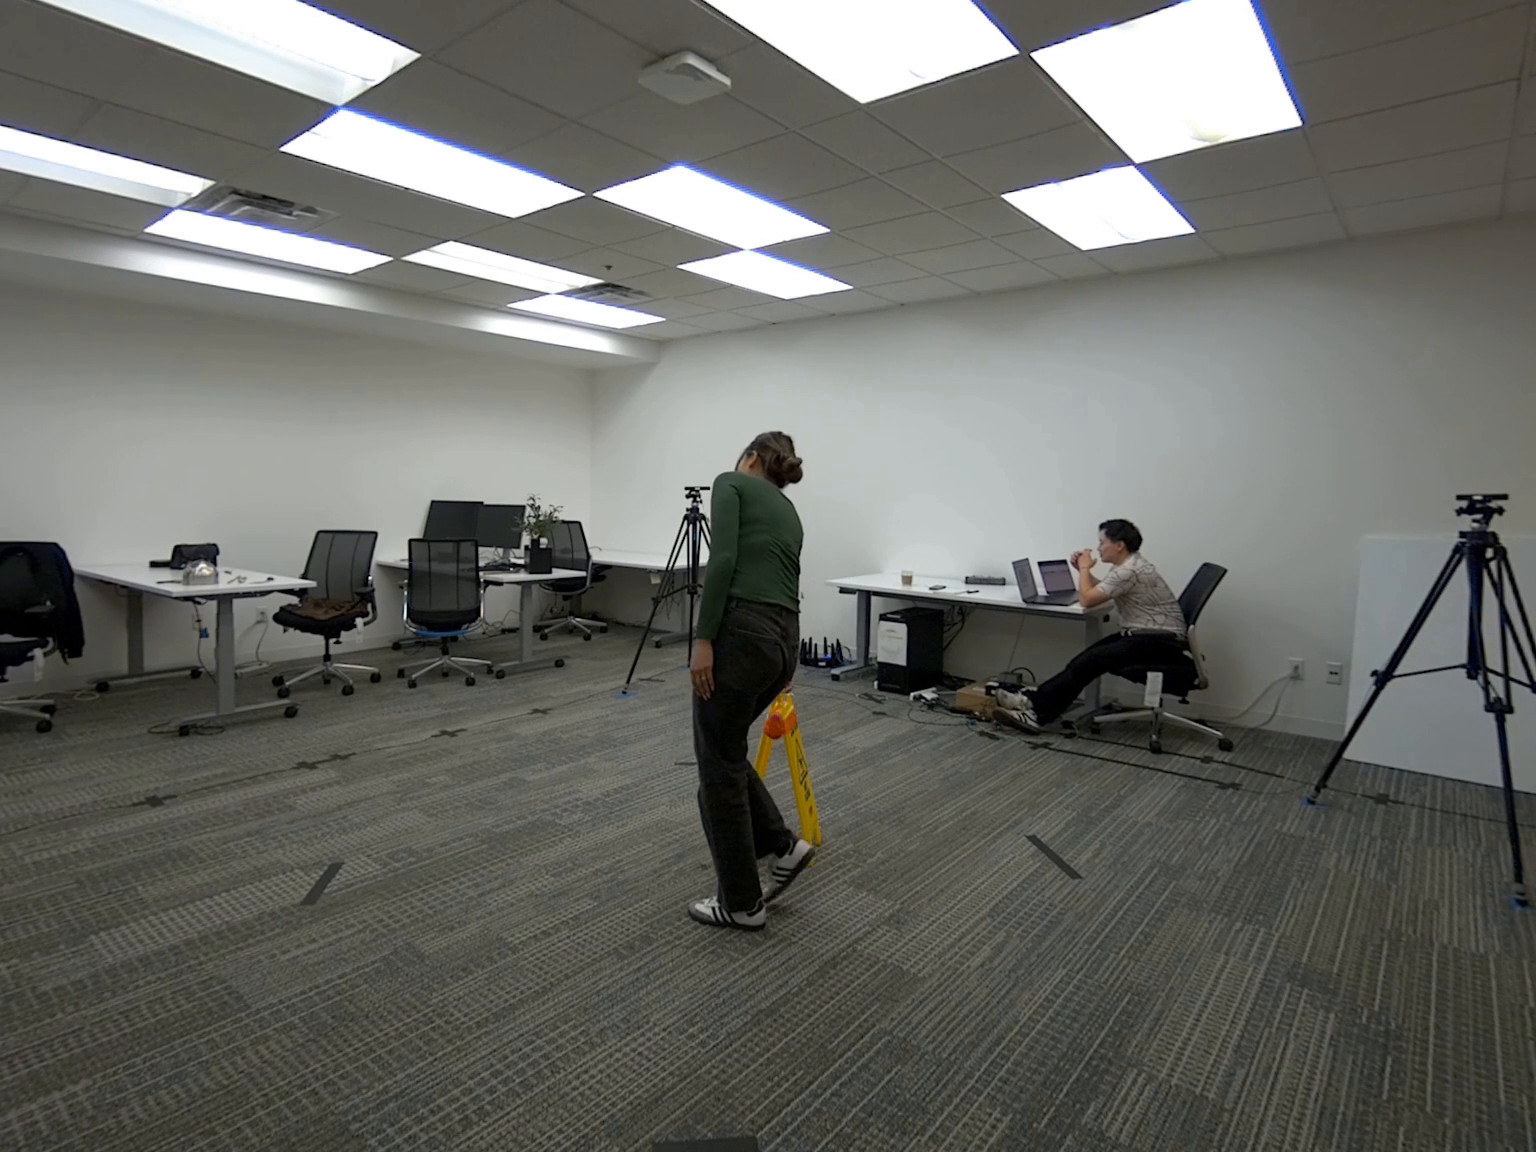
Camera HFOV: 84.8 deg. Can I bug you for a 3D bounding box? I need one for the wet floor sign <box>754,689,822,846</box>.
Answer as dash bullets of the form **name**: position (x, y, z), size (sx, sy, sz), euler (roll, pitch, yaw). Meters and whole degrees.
- **wet floor sign**: position (0.036, 0.729, 3.284), size (0.294, 0.645, 0.278), euler (1, 2, 13)
